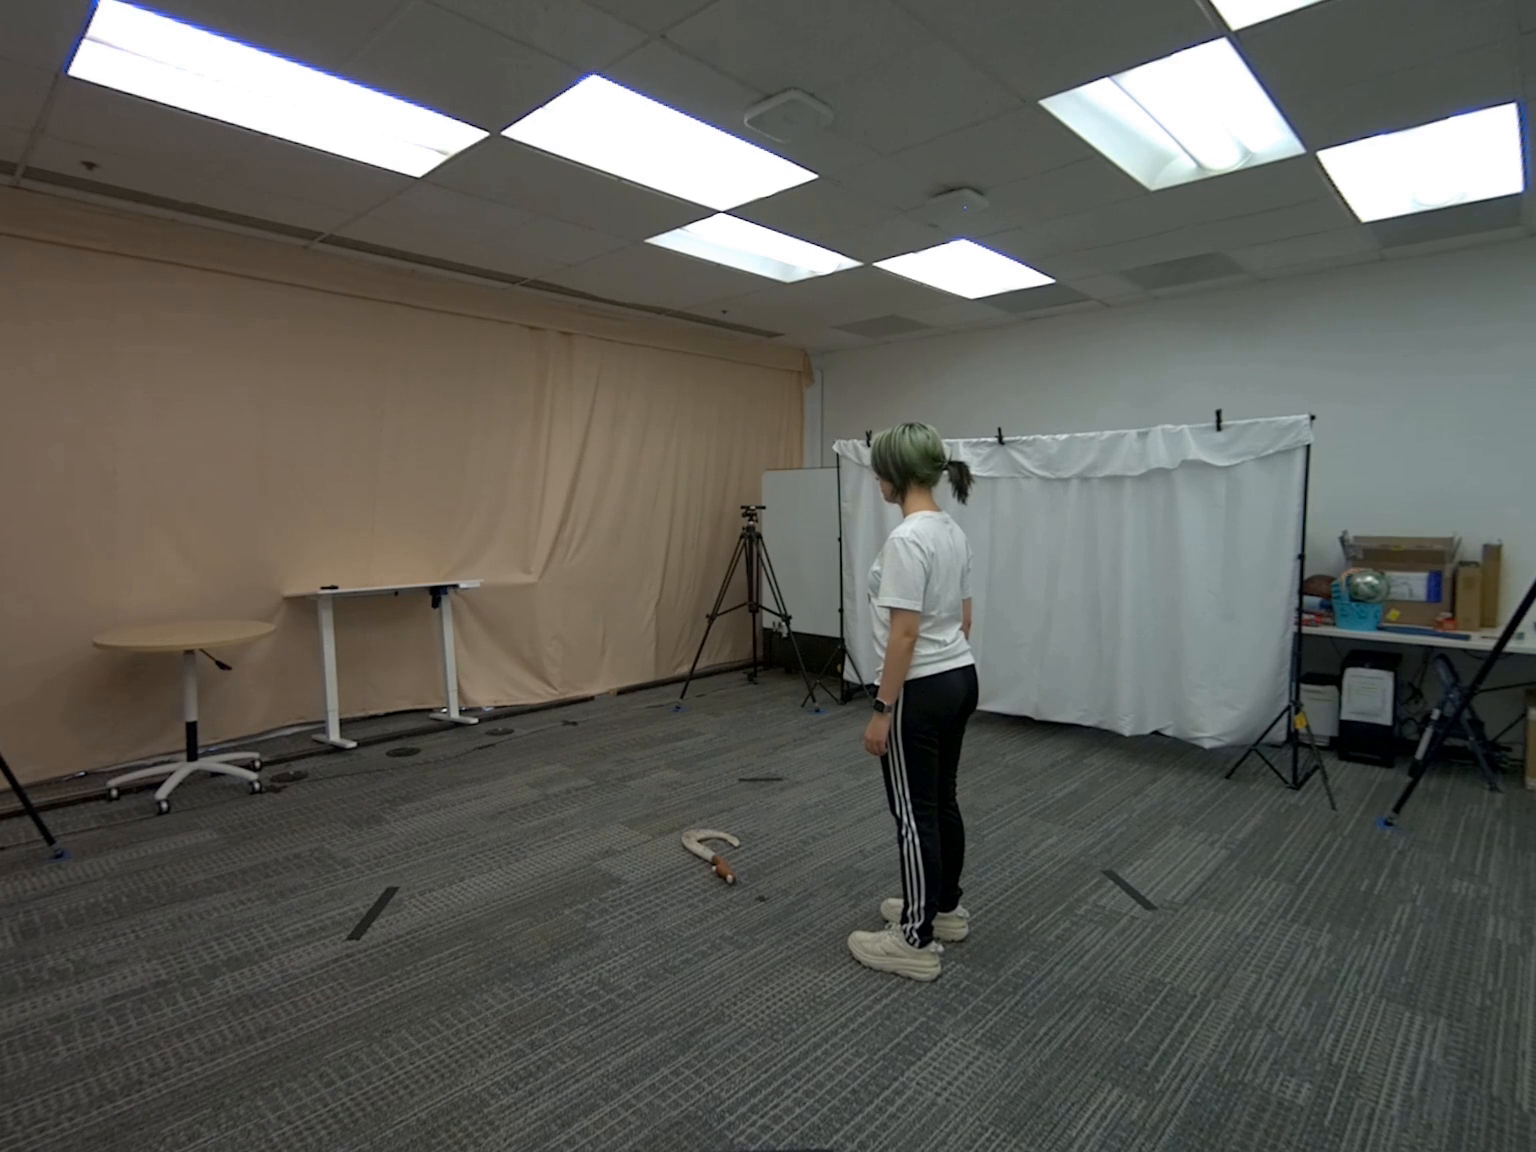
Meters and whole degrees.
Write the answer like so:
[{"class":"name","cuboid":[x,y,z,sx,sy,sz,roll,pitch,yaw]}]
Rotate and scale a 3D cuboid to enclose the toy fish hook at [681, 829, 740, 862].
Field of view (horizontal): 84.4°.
[{"class":"toy fish hook","cuboid":[-0.180,1.091,3.325,0.220,0.048,0.519,-4,6,-23]}]
